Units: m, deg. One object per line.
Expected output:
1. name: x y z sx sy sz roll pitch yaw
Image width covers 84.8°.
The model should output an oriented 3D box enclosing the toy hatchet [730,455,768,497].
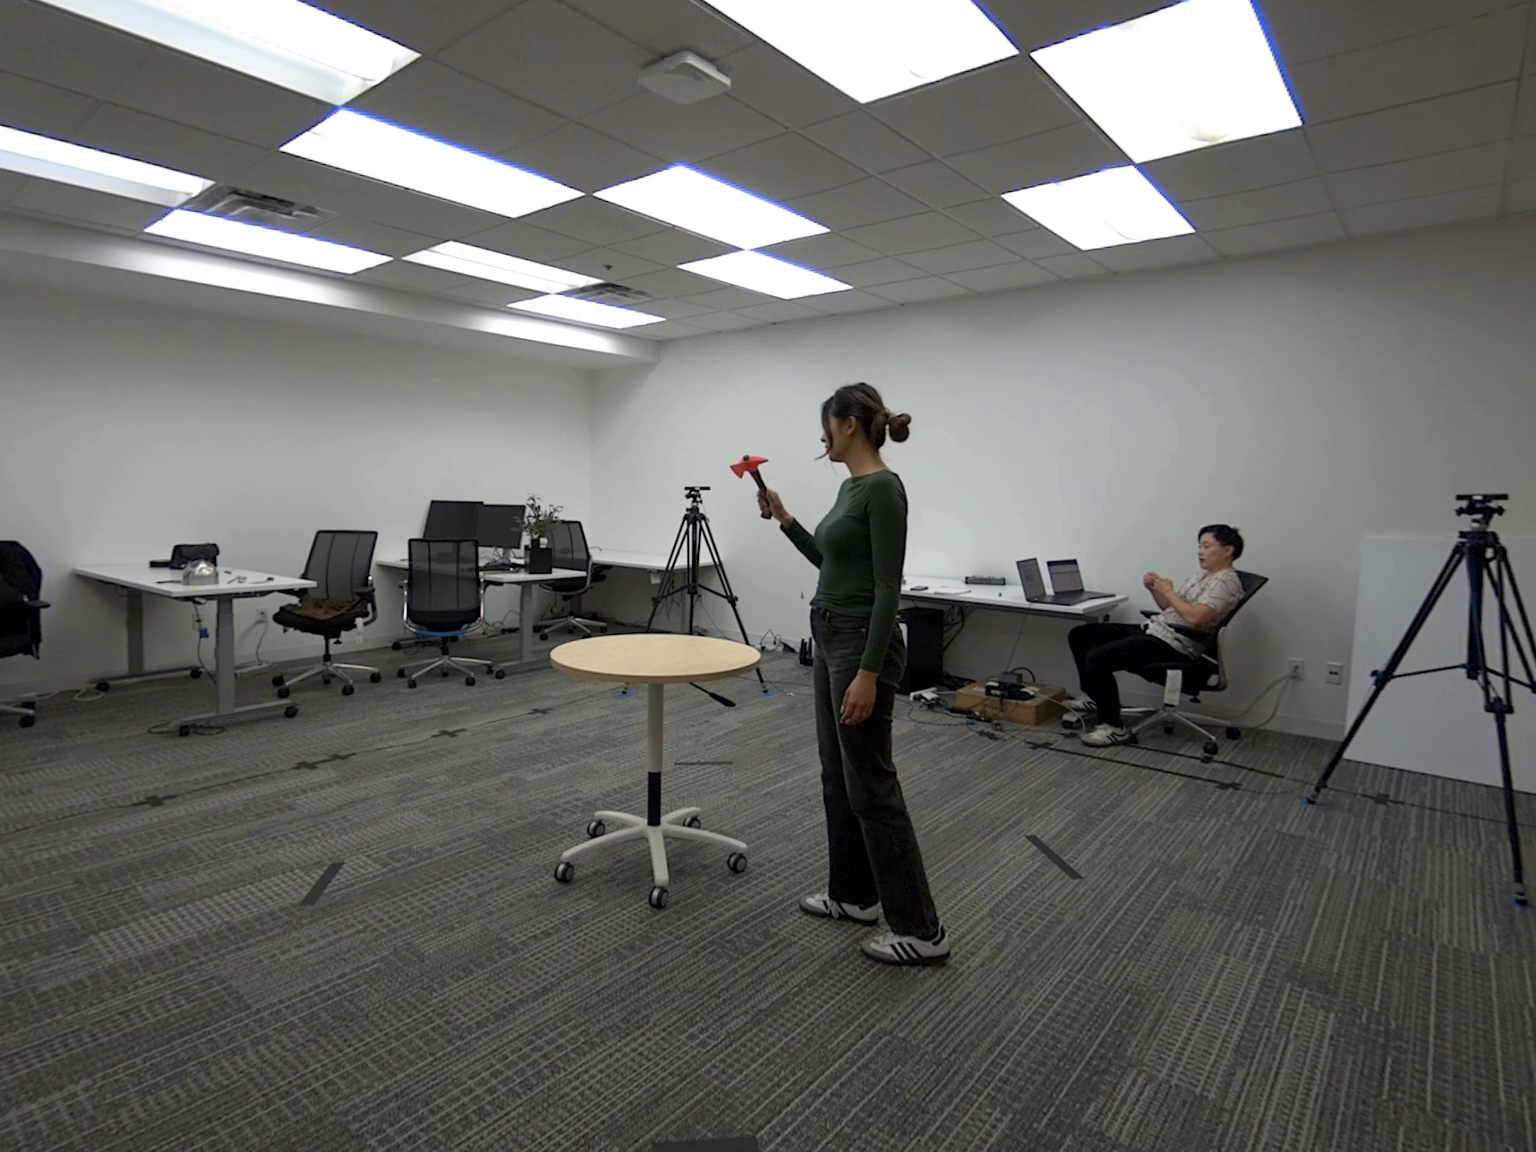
1. toy hatchet: -0.067 -0.293 2.787 0.133 0.261 0.030 6 46 11
